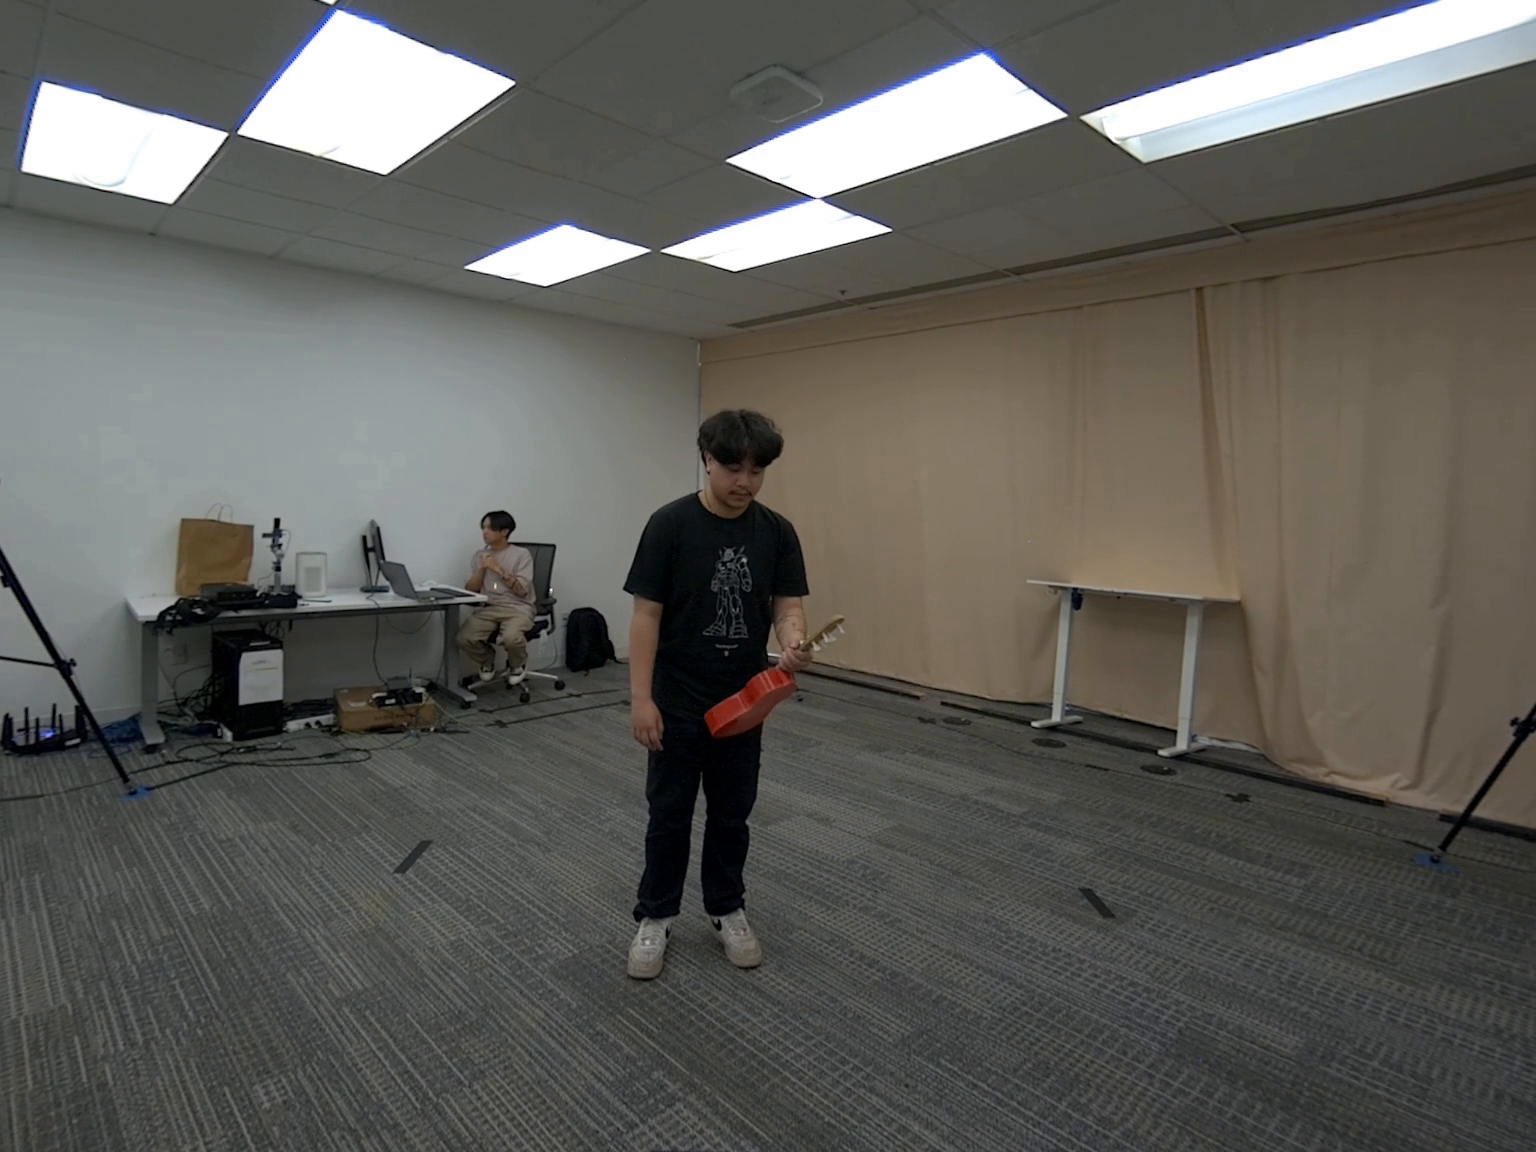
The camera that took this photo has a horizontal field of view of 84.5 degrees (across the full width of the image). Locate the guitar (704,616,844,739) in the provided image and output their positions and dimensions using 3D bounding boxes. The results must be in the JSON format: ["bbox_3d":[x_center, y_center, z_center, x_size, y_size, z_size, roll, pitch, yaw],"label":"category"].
[{"bbox_3d":[0.005,0.280,2.228,0.189,0.072,0.497,-6,-34,-46],"label":"guitar"}]
